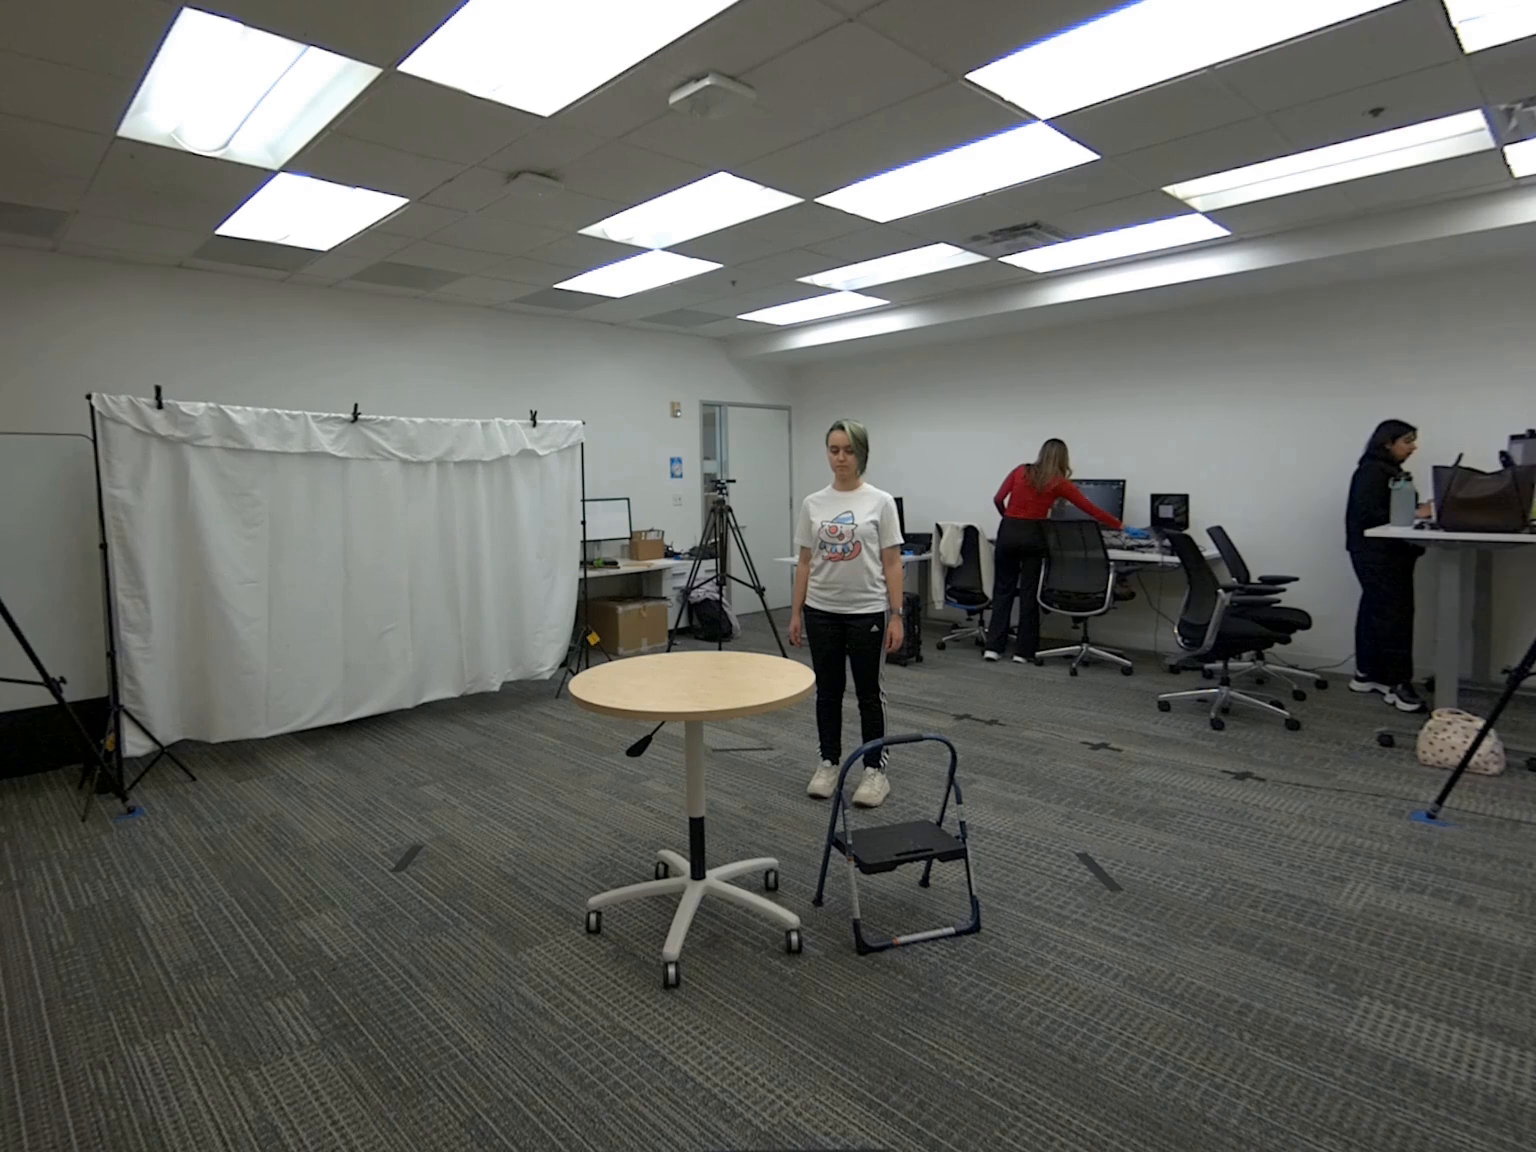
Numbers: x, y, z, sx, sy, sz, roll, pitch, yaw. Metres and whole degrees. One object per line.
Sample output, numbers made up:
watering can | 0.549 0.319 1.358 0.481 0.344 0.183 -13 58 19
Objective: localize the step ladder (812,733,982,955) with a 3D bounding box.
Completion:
step ladder | 0.399 0.785 2.697 0.423 0.603 0.357 -3 5 -19
